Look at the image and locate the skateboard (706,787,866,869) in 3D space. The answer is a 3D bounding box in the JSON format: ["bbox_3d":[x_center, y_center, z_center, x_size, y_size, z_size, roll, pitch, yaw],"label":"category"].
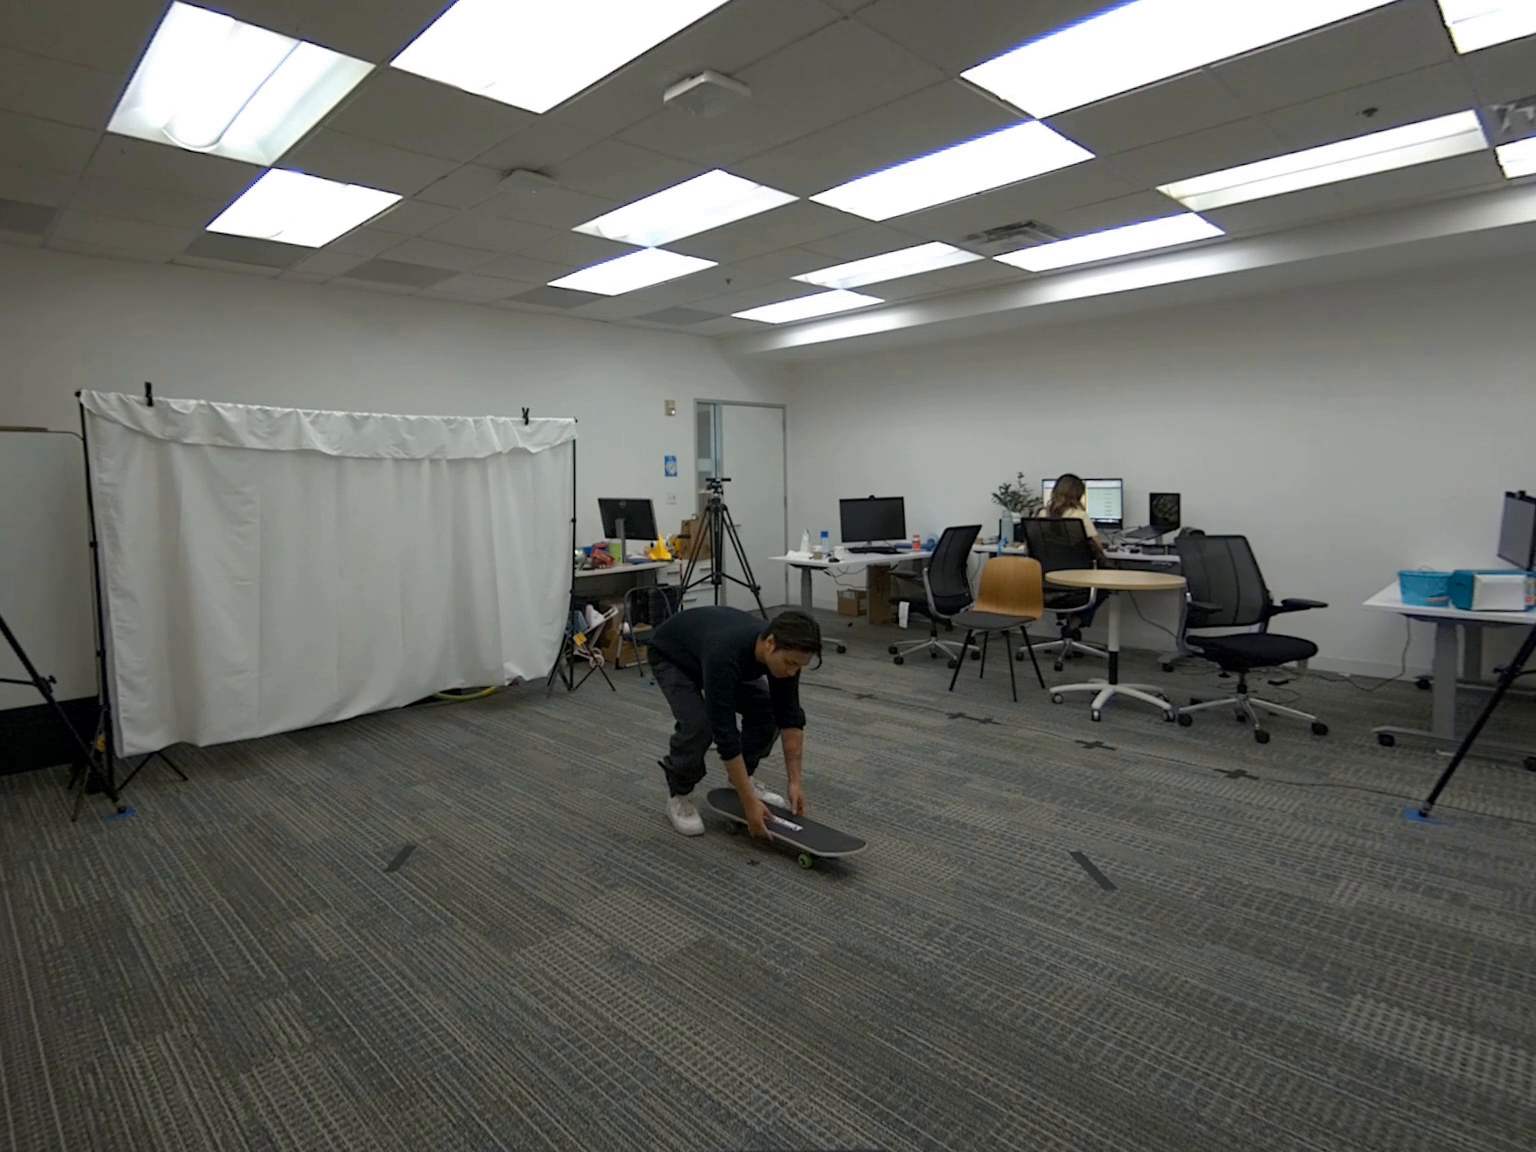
[{"bbox_3d":[0.057,0.969,3.255,0.188,0.110,0.809,-7,8,-41],"label":"skateboard"}]
